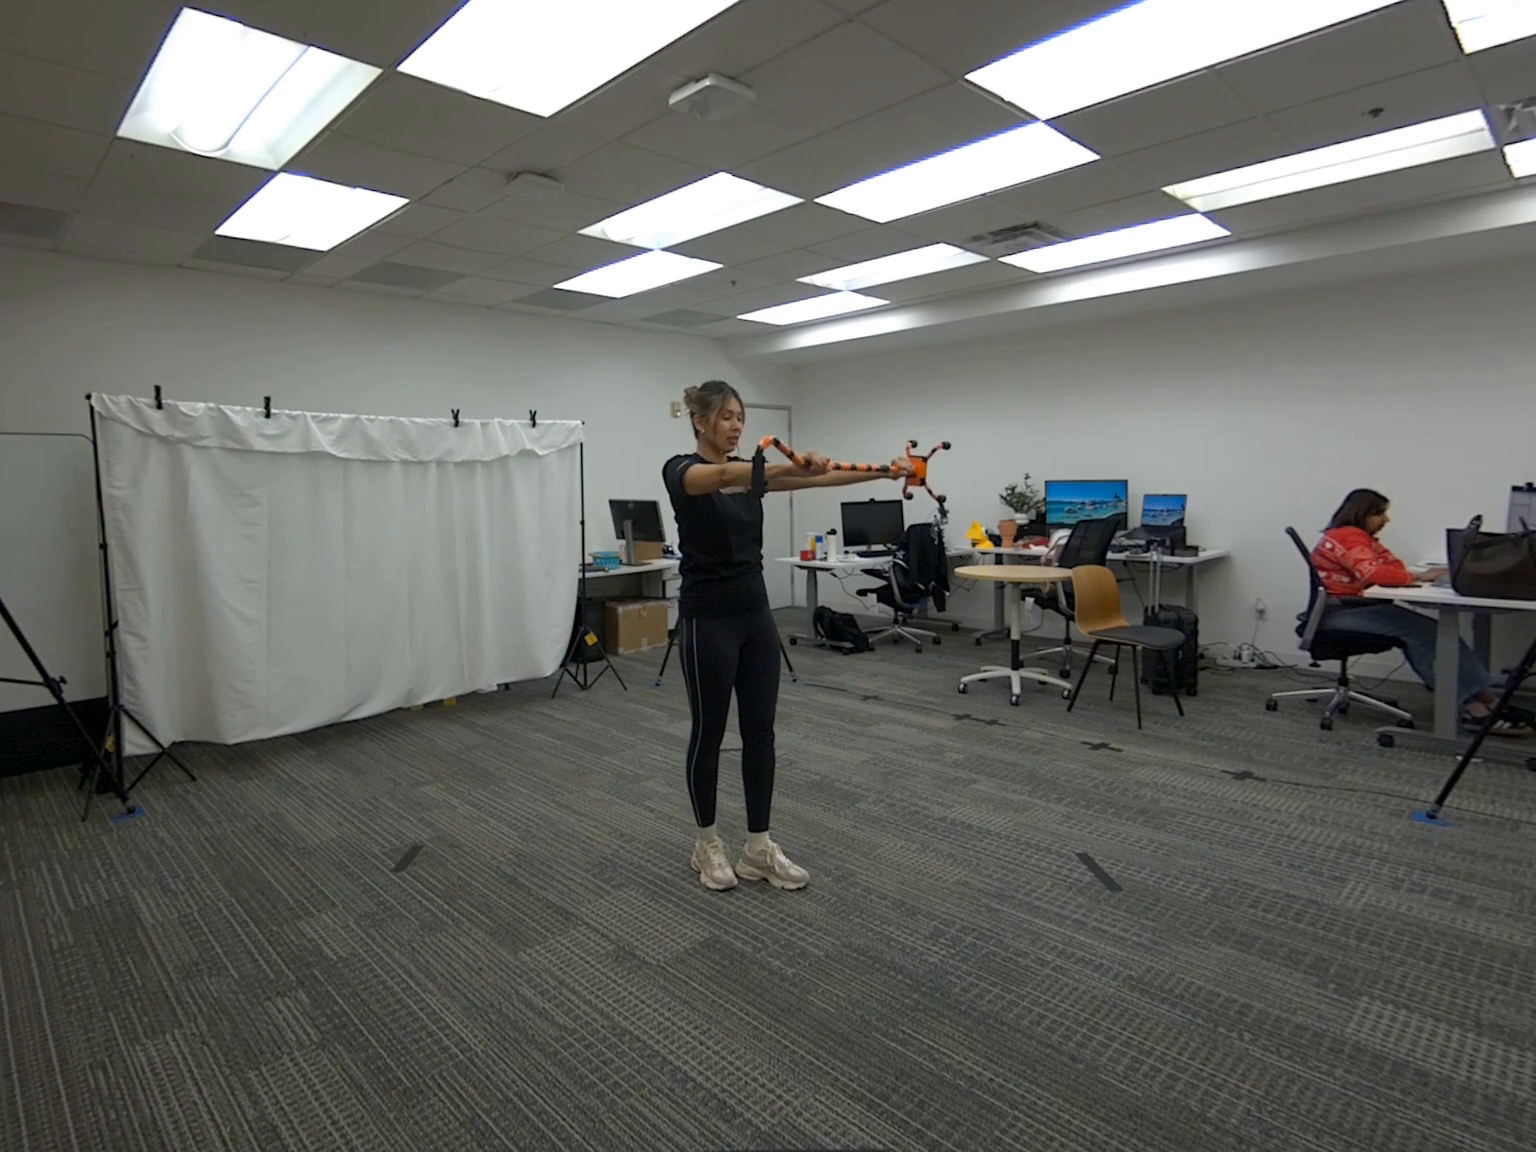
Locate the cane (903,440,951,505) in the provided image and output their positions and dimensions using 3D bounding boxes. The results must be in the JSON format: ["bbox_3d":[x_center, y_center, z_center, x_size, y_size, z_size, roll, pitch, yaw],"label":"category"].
[{"bbox_3d":[0.254,-0.320,2.530,0.156,0.205,0.884,10,11,39],"label":"cane"}]
